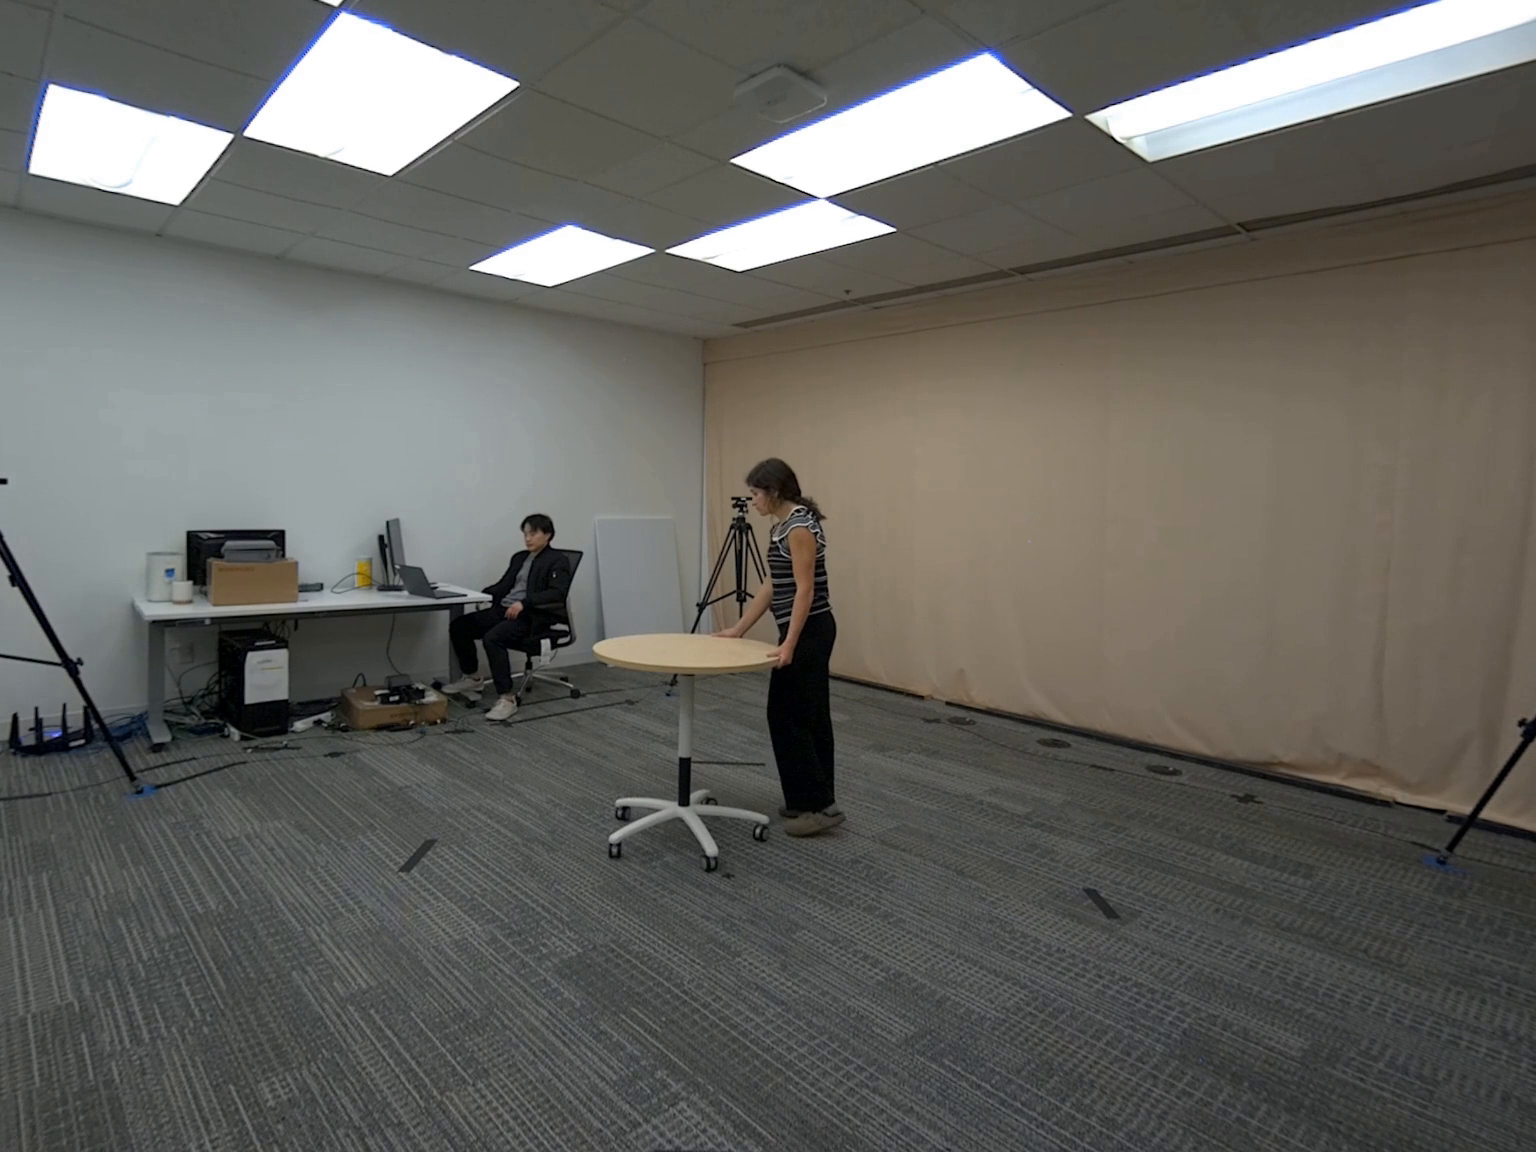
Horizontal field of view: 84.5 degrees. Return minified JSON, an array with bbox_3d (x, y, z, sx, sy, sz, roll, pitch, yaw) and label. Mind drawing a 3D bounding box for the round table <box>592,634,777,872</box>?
[{"bbox_3d":[-0.345,0.688,3.415,0.763,0.792,0.766,2,4,-1],"label":"round table"}]
